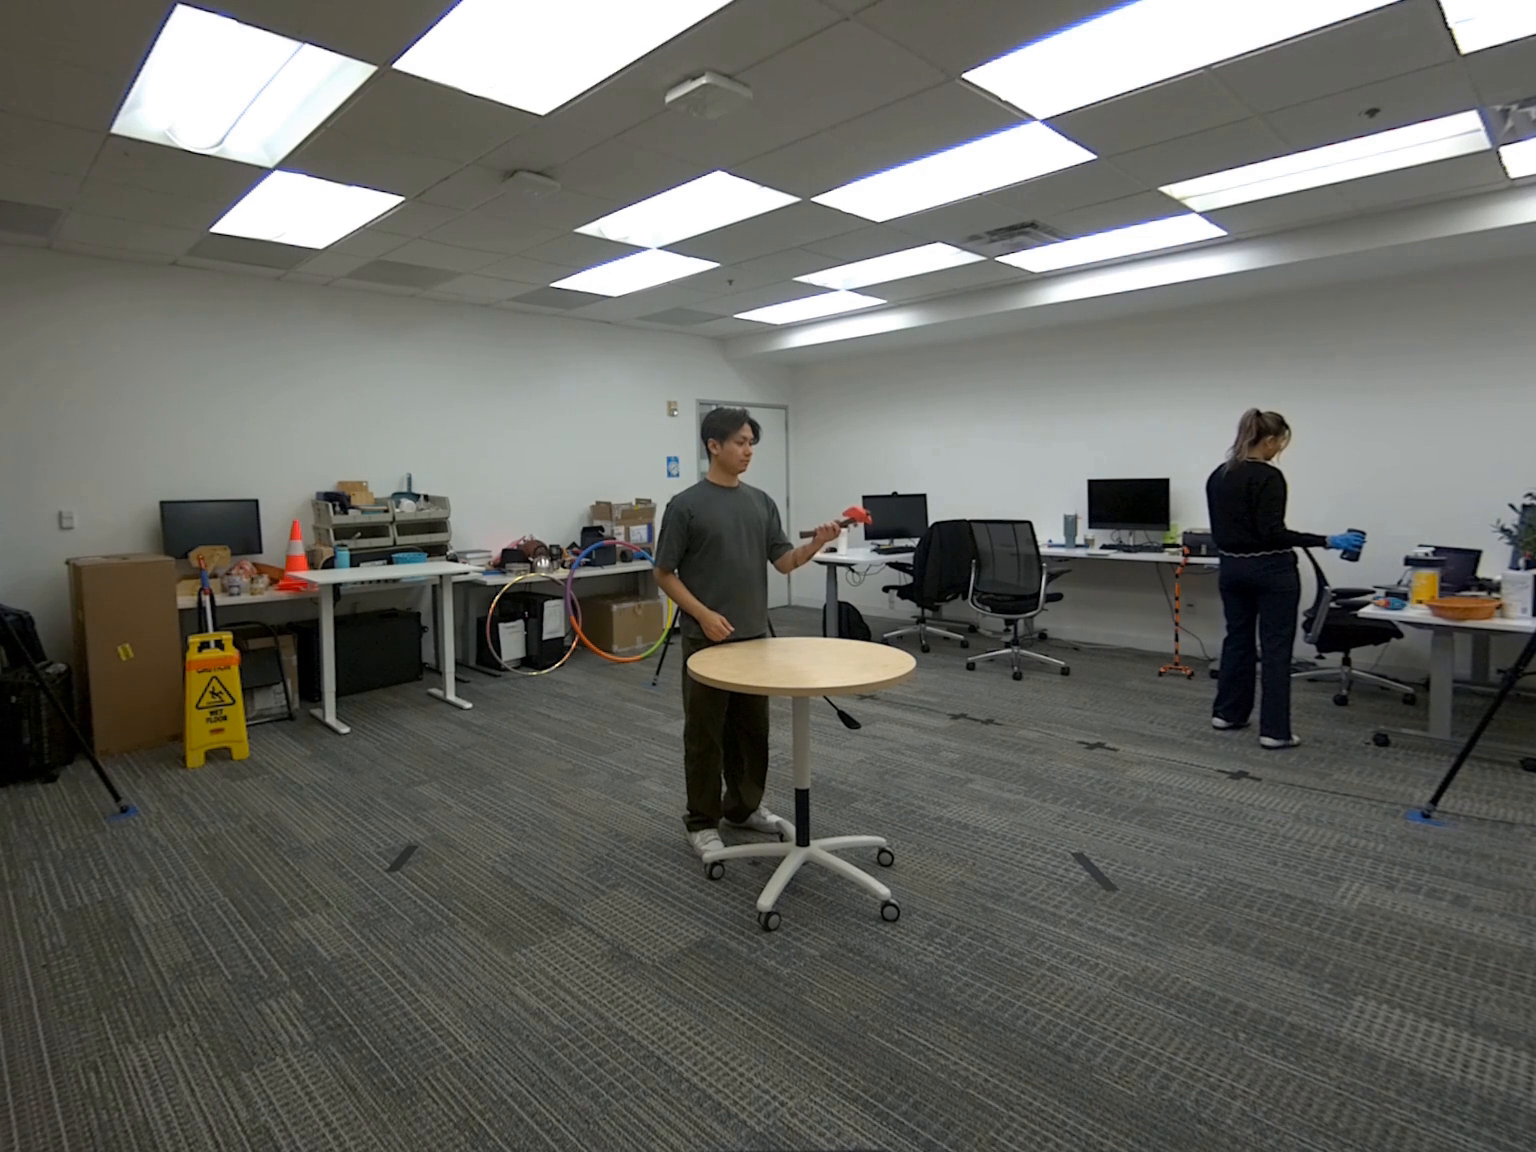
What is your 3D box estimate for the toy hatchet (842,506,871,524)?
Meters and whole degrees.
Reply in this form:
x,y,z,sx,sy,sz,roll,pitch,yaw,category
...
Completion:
x,y,z,sx,sy,sz,roll,pitch,yaw,category
0.227,-0.199,3.057,0.273,0.030,0.126,-10,-30,14,toy hatchet
